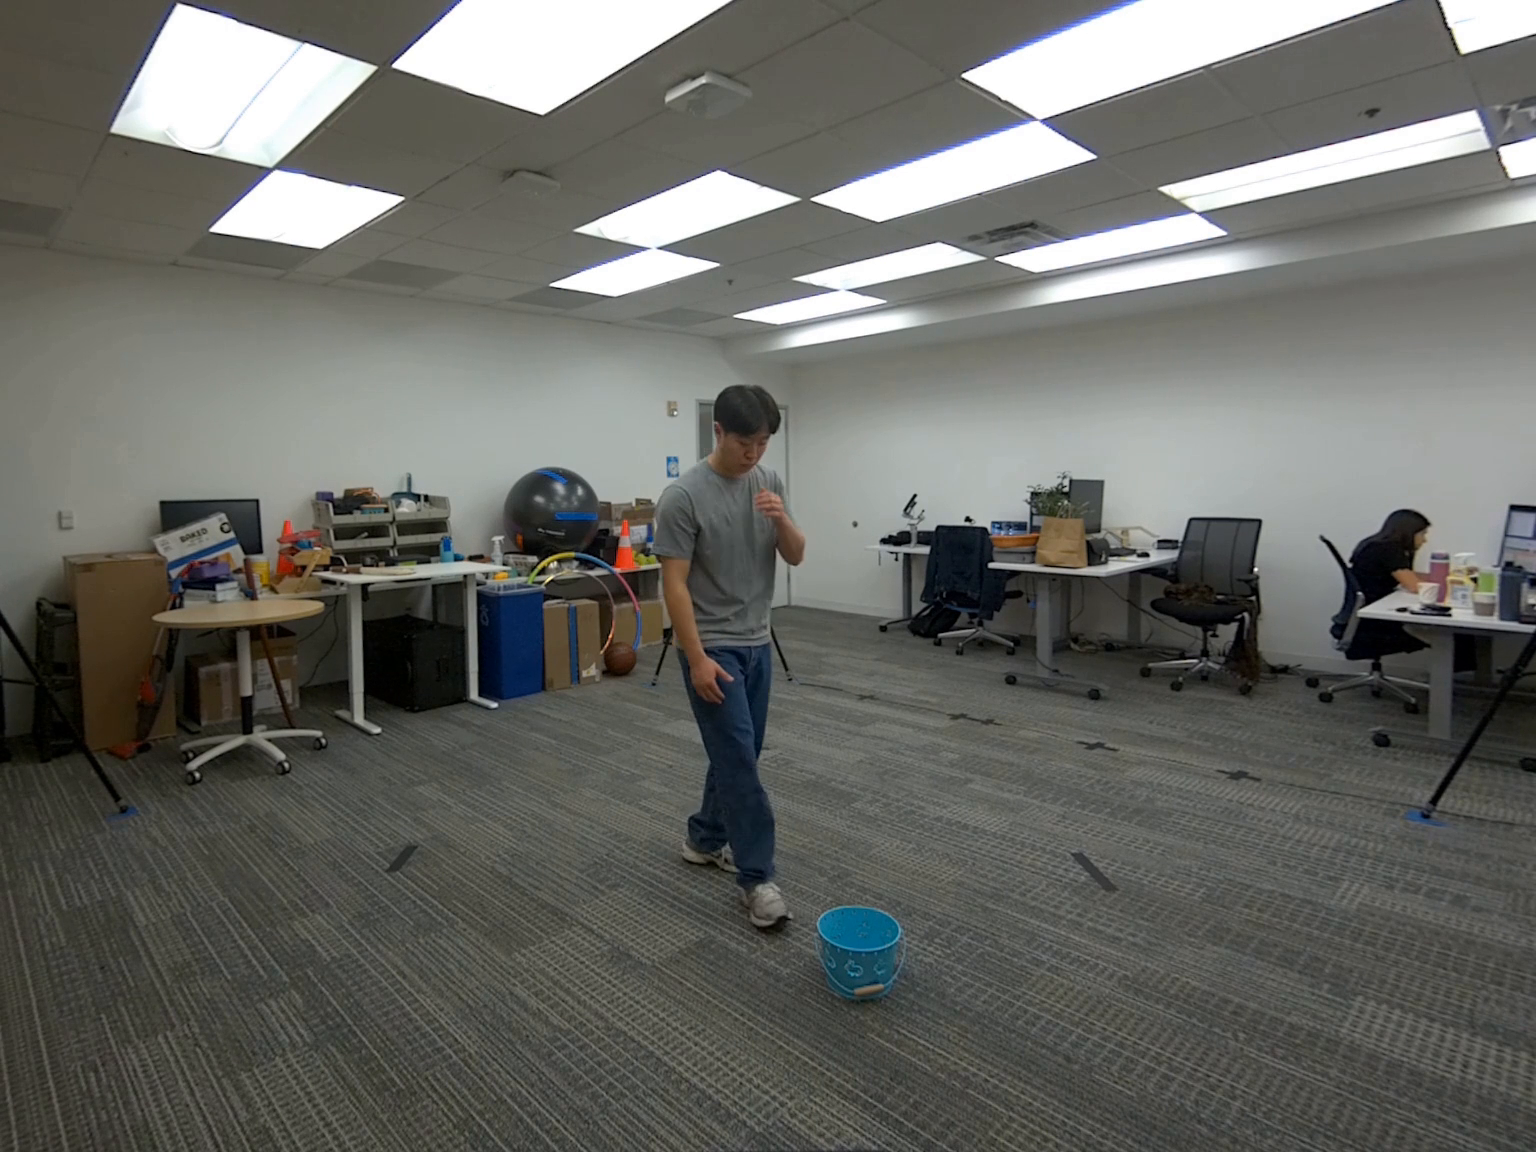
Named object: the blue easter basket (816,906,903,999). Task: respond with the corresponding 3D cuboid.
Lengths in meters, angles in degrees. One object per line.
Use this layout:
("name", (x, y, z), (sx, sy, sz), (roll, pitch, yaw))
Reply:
("blue easter basket", (0.255, 1.047, 2.367), (0.243, 0.155, 0.245), (-1, 5, -2))
